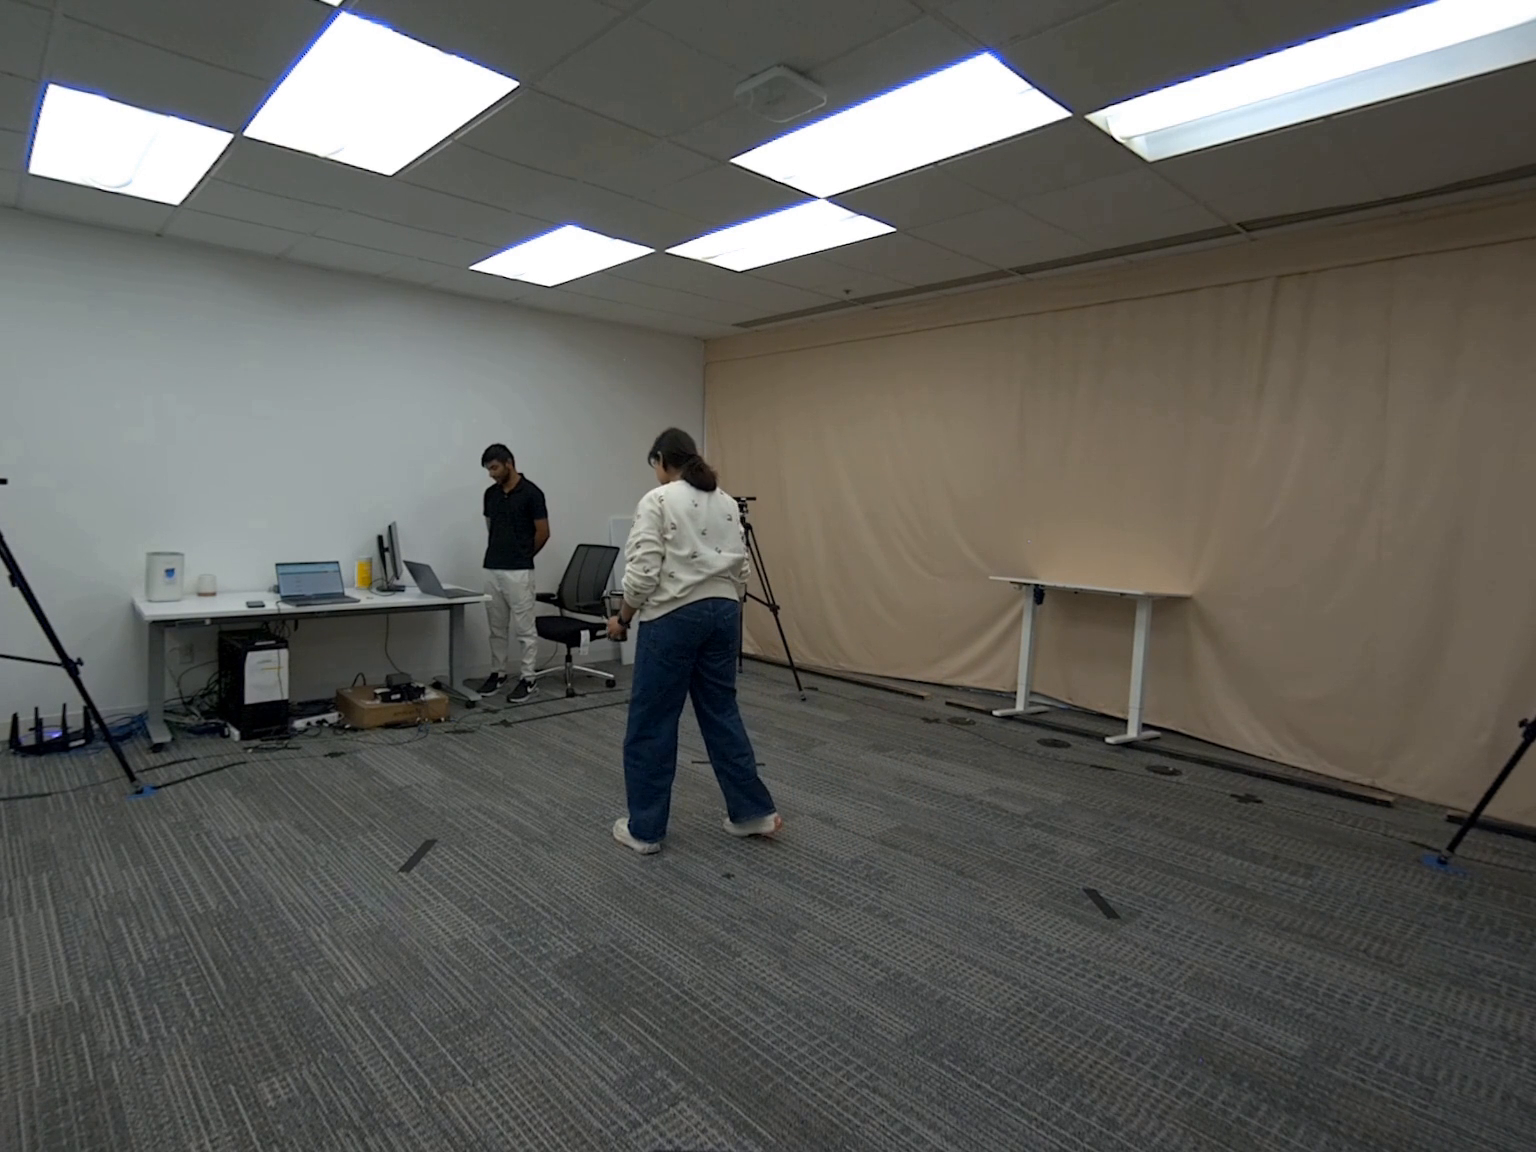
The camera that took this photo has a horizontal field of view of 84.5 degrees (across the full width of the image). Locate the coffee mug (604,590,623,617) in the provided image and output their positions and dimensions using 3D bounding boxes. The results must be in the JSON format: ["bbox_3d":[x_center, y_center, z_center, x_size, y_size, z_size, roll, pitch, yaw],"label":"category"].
[{"bbox_3d":[-0.618,0.167,3.451,0.124,0.202,0.086,5,7,24],"label":"coffee mug"}]
